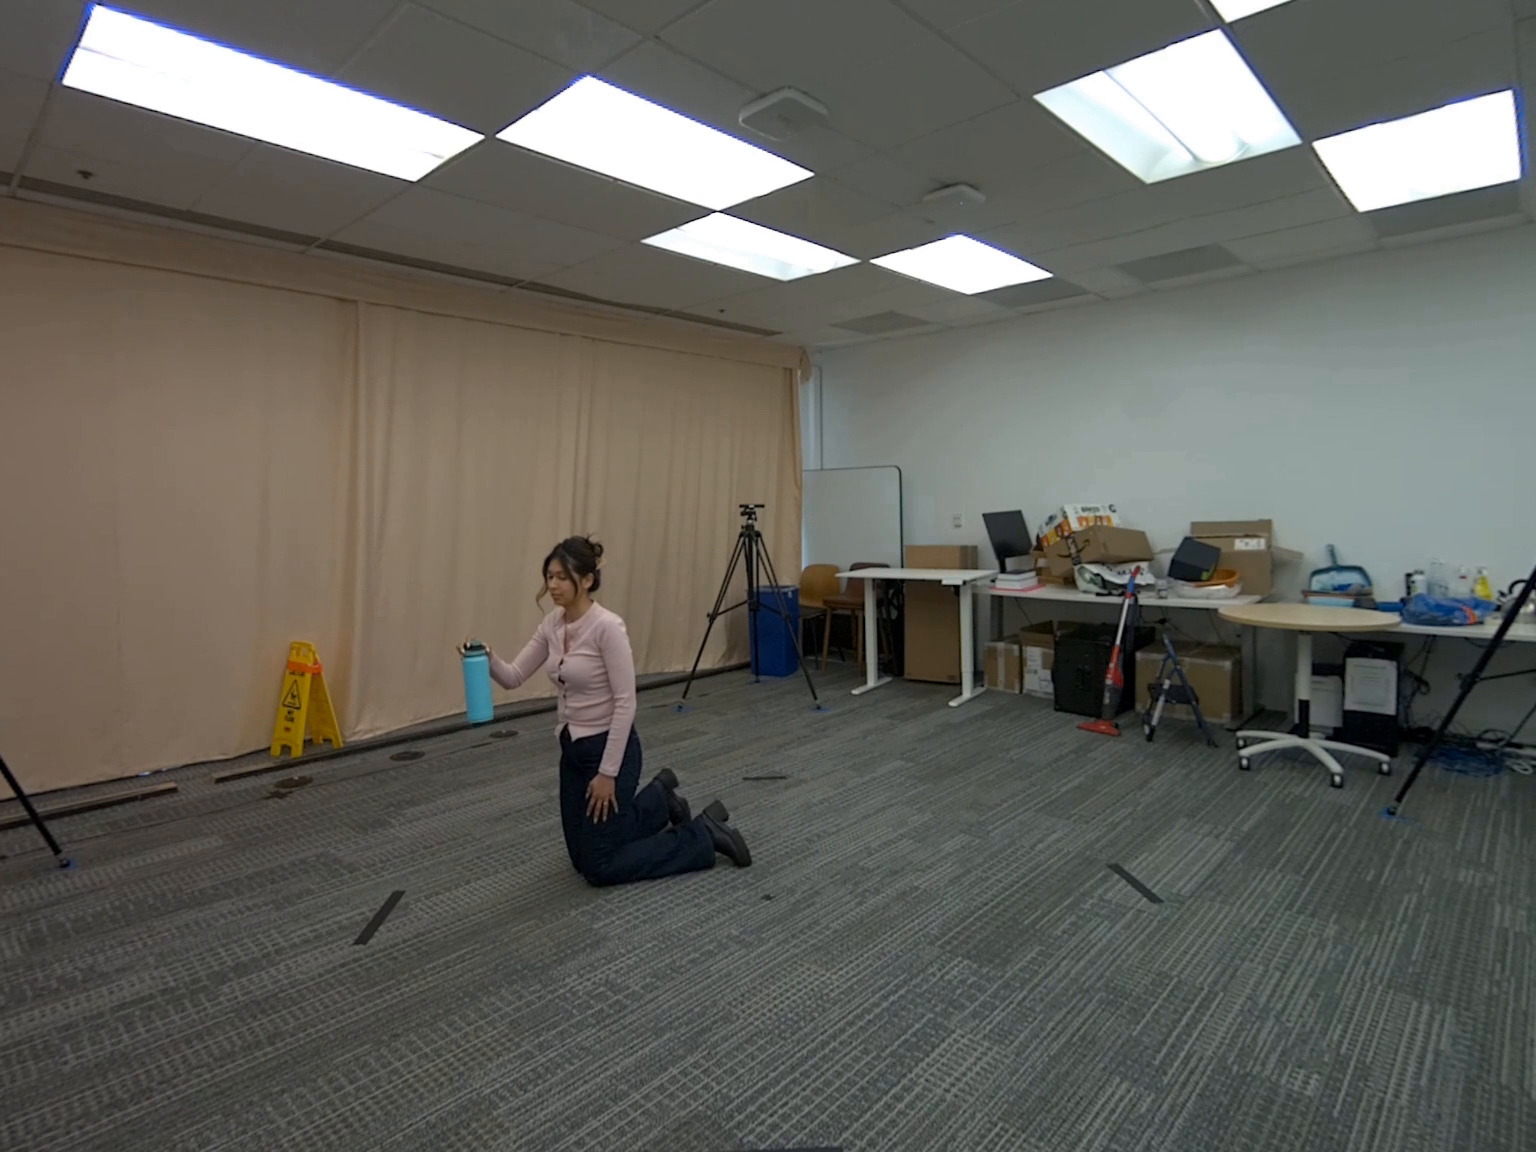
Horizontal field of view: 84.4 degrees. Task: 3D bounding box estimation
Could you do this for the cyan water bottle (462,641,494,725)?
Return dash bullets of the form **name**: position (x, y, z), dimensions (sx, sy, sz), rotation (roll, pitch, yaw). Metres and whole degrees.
- **cyan water bottle**: position (-1.030, 0.368, 2.973), dimensions (0.092, 0.283, 0.092), rotation (-4, 2, -2)
